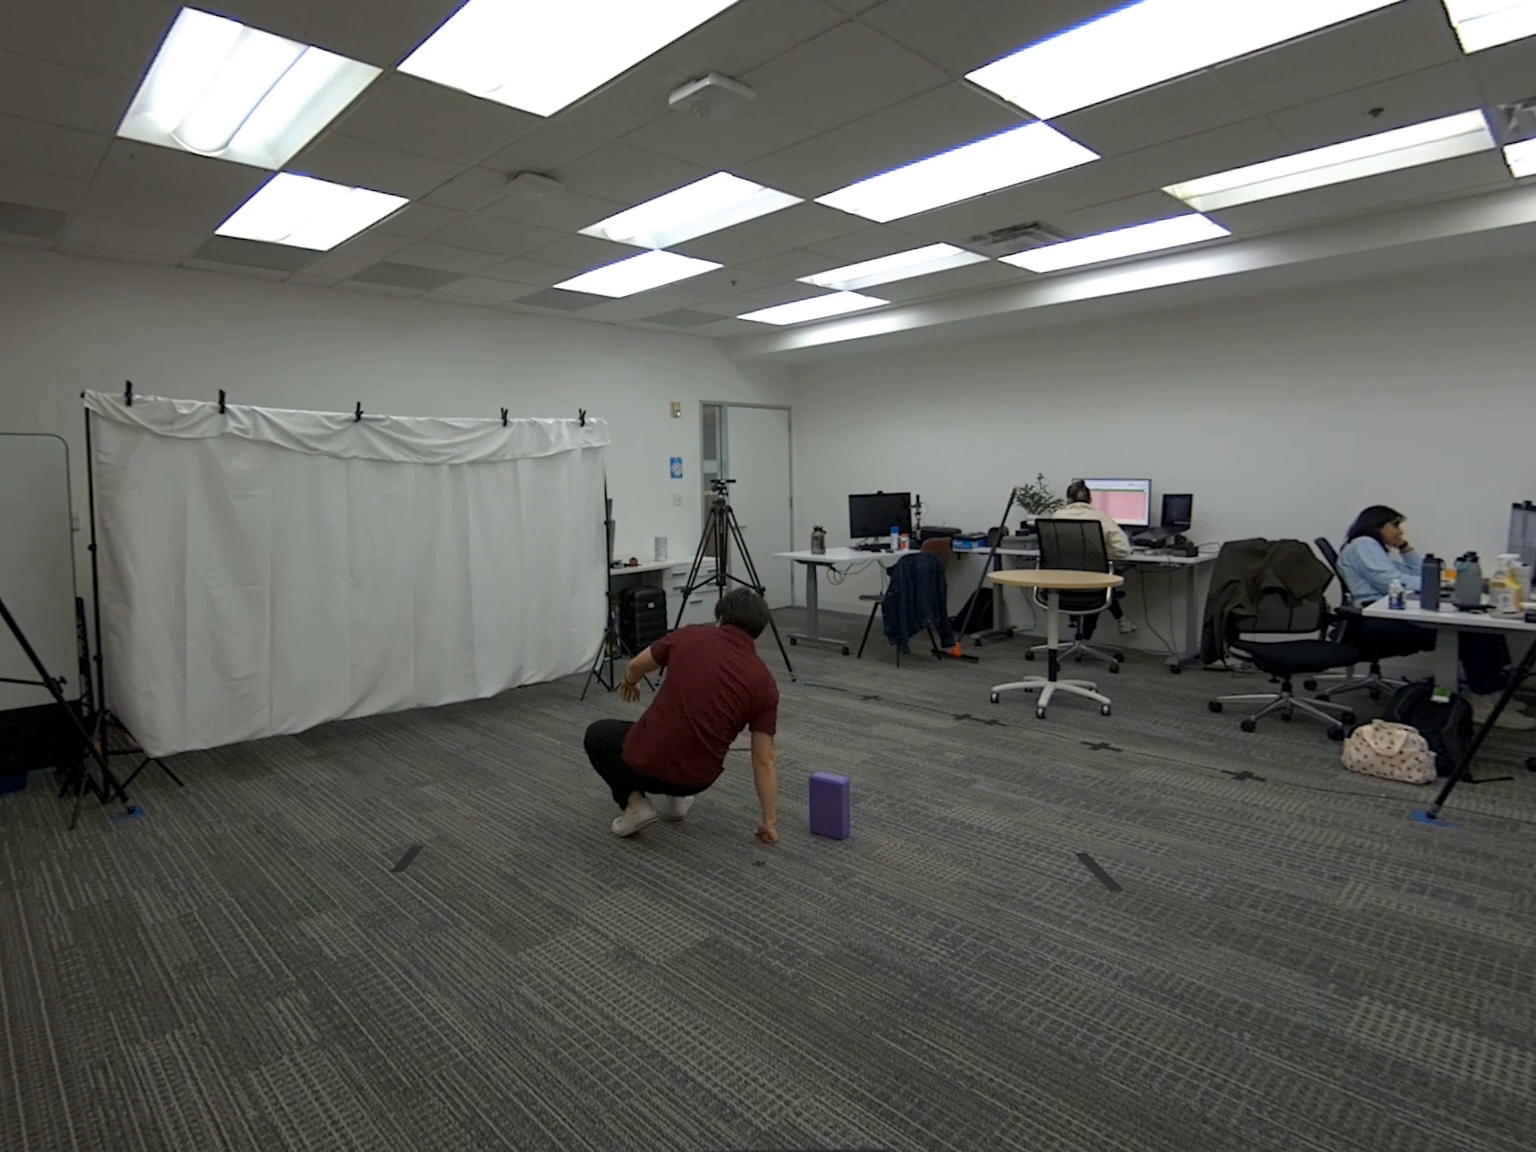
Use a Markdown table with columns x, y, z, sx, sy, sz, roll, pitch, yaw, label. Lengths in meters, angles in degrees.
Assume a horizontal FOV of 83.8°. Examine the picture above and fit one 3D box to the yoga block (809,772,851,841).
| x | y | z | sx | sy | sz | roll | pitch | yaw | label |
| --- | --- | --- | --- | --- | --- | --- | --- | --- | --- |
| 0.238 | 0.894 | 3.351 | 0.153 | 0.228 | 0.074 | 3 | 5 | 35 | yoga block |
